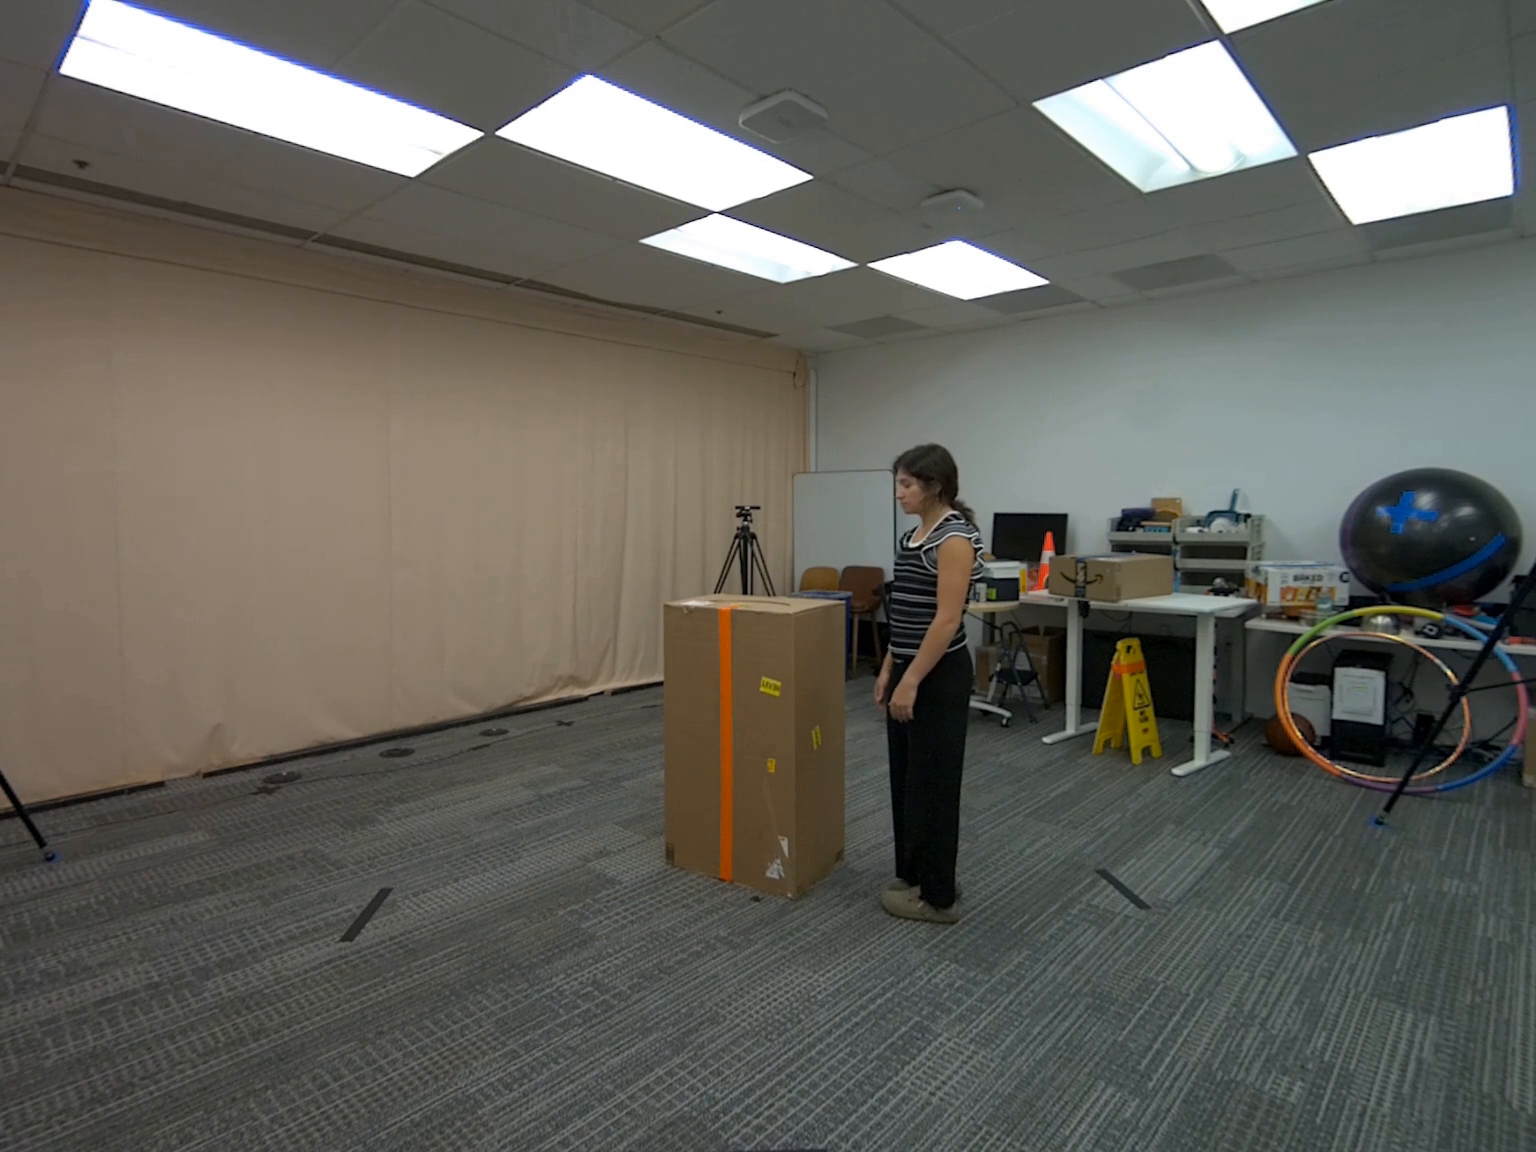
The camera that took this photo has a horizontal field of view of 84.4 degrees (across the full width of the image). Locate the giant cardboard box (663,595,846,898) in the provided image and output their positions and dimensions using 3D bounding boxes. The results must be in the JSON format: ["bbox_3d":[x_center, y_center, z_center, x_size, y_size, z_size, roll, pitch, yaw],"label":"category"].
[{"bbox_3d":[-0.048,0.611,3.276,0.595,1.024,0.414,2,4,32],"label":"giant cardboard box"}]
